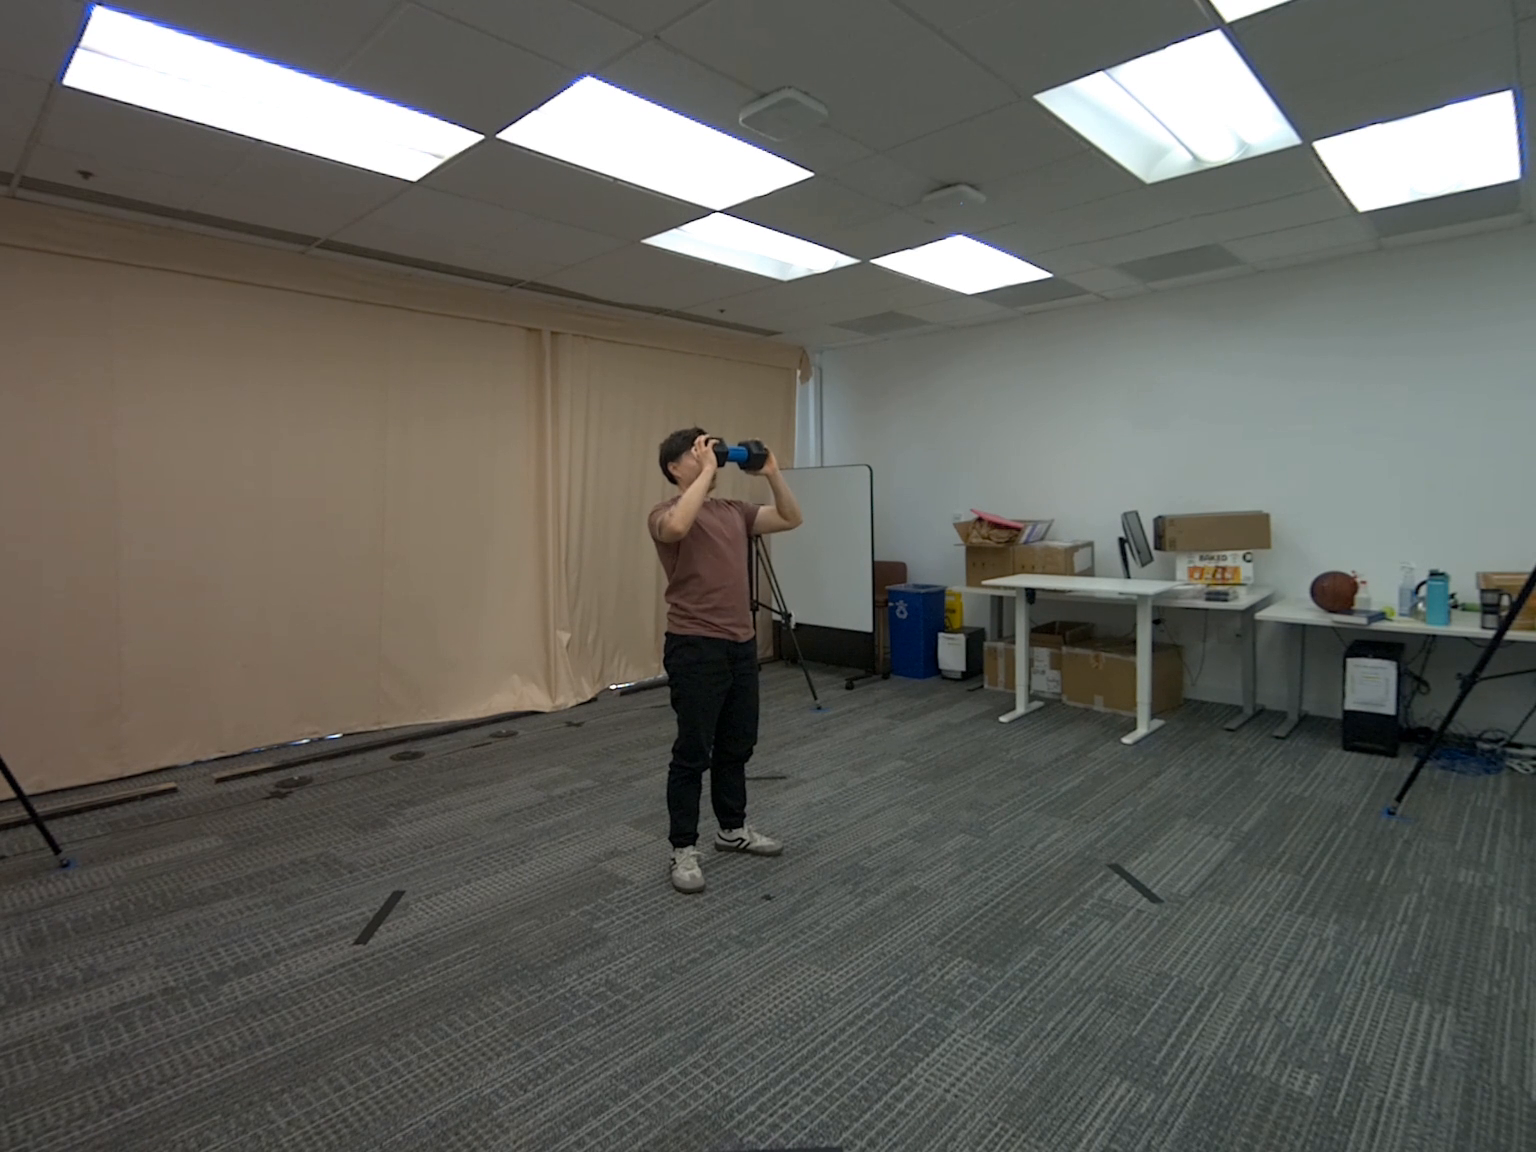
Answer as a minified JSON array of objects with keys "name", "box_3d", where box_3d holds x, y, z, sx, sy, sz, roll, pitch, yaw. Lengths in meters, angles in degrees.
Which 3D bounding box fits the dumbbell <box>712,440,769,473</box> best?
[{"name":"dumbbell","box_3d":[-0.130,-0.453,3.112,0.285,0.125,0.110,-7,-27,-47]}]
